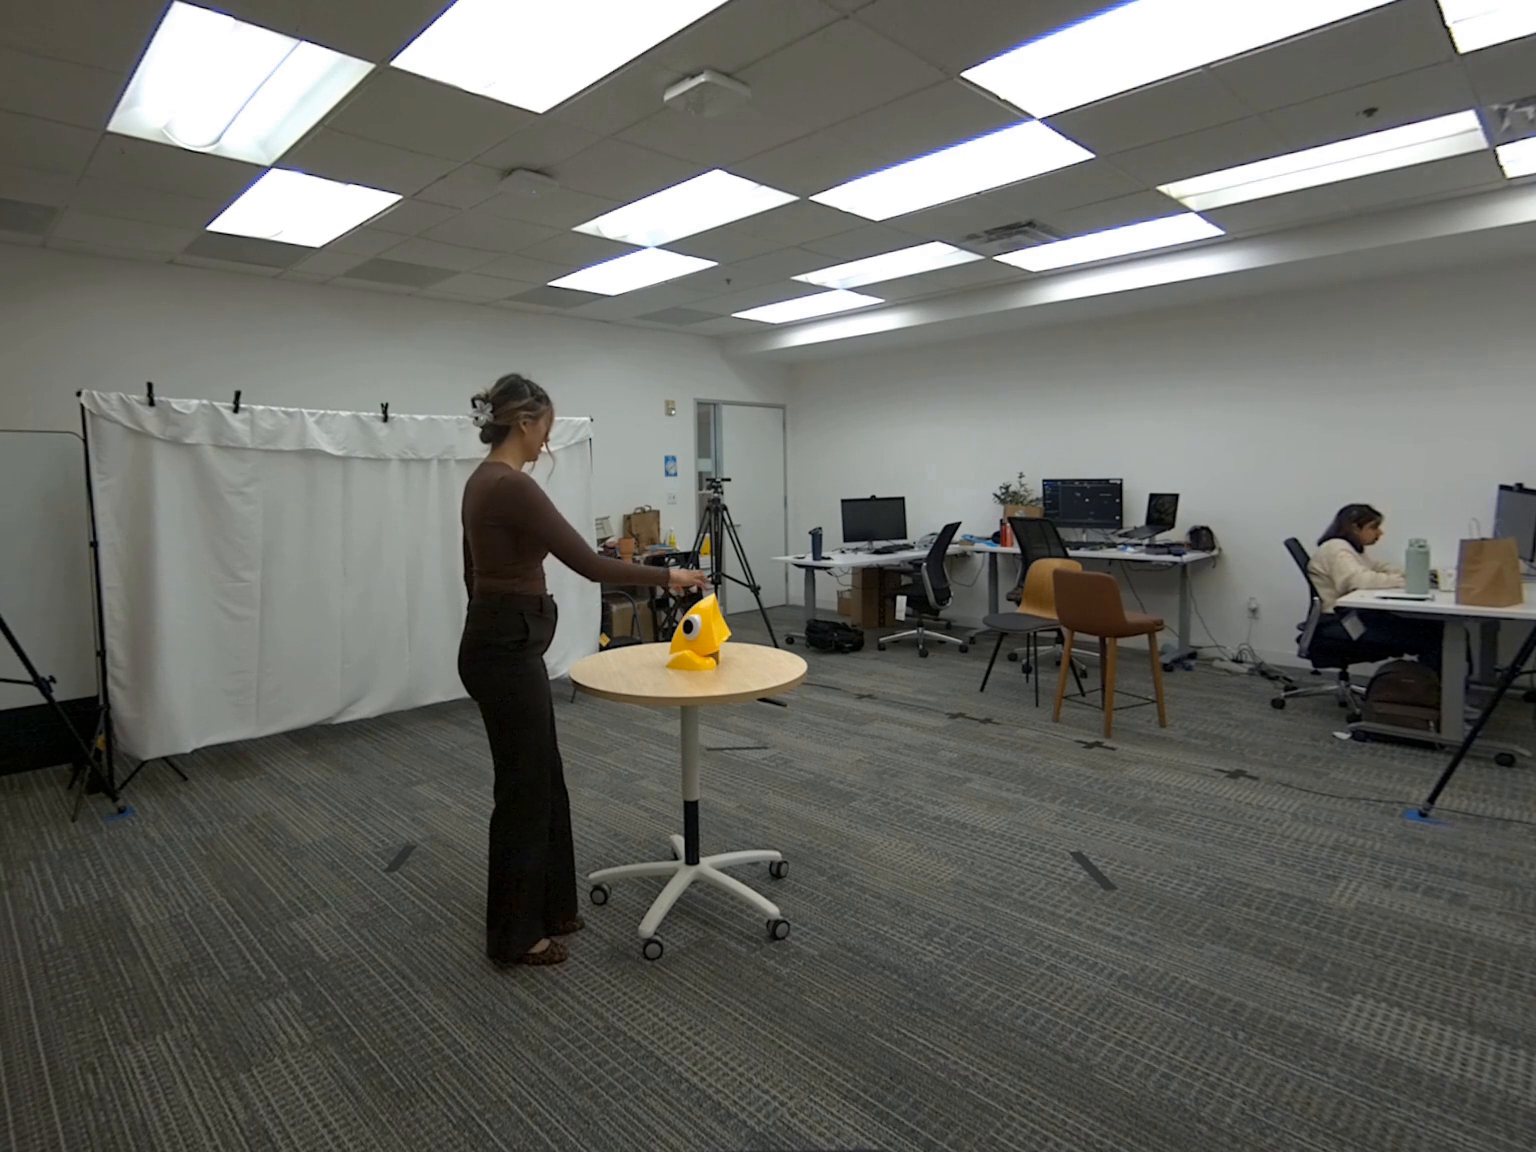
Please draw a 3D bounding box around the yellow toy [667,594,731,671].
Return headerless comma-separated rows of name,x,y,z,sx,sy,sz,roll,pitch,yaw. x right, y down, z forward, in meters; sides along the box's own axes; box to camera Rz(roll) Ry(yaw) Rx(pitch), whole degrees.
yellow toy,-0.228,0.169,2.780,0.195,0.230,0.203,1,5,11
